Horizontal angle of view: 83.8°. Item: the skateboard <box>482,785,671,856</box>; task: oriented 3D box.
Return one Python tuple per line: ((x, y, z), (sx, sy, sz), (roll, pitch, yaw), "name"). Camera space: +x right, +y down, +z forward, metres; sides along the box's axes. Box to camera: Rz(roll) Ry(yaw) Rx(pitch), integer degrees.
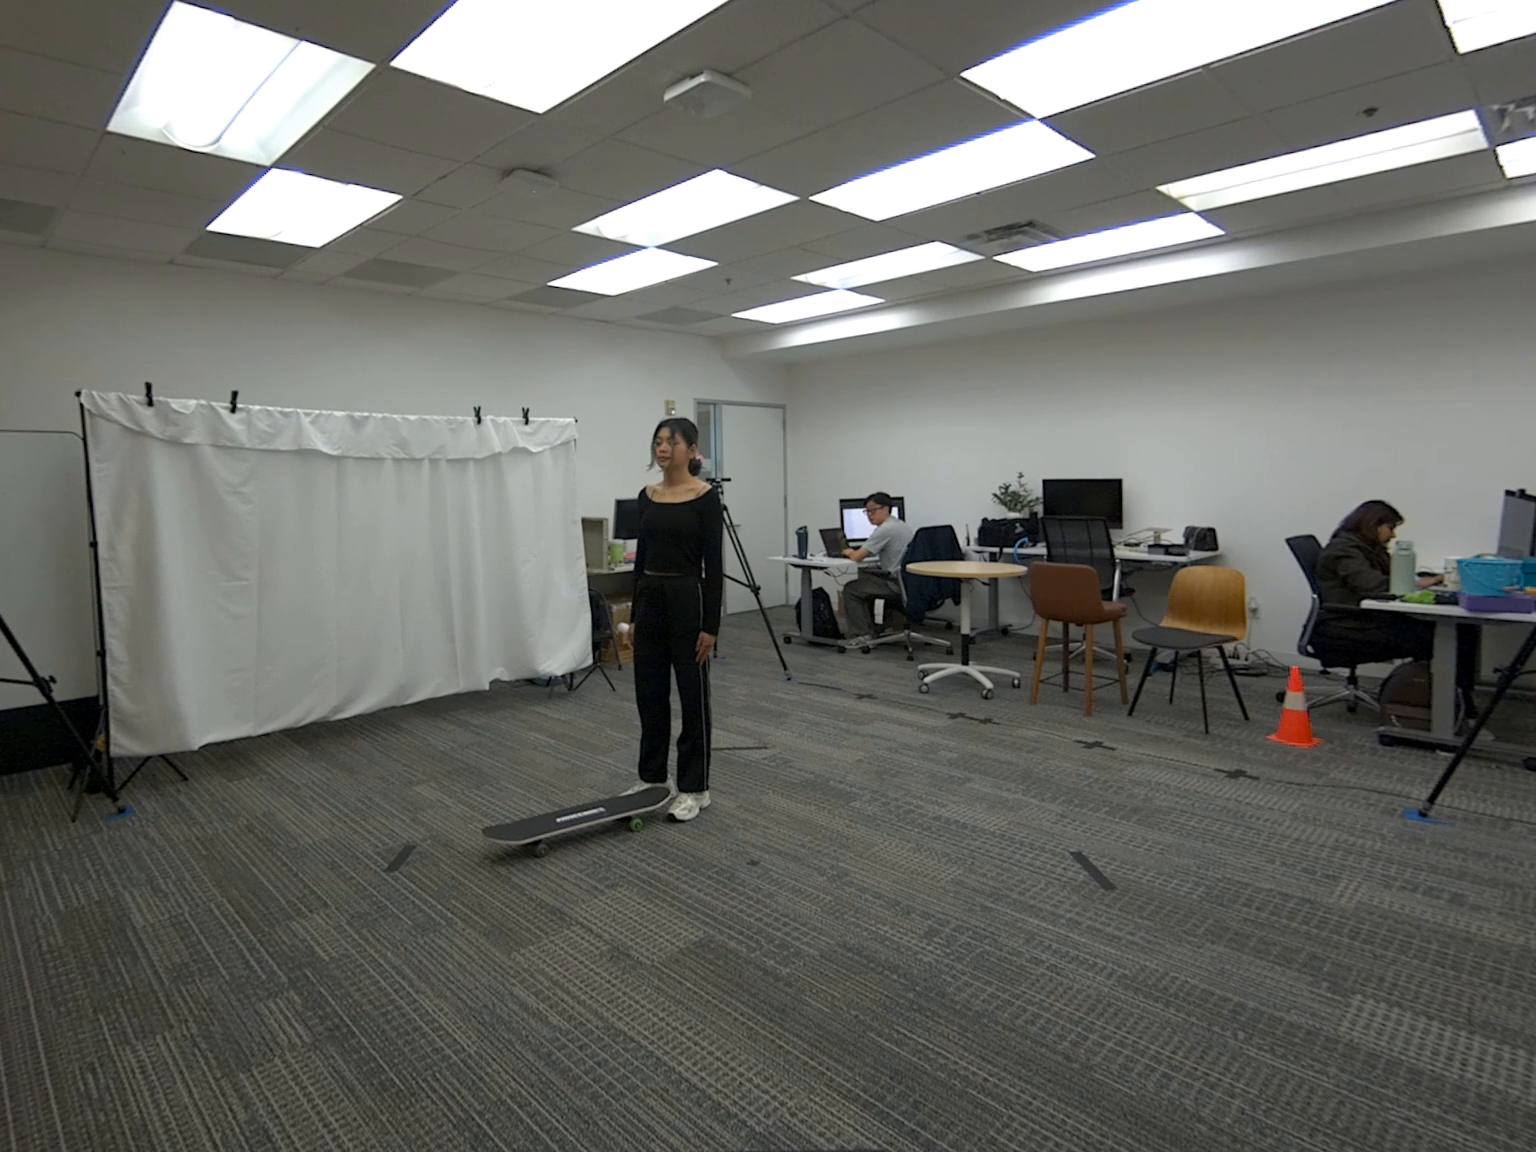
((-0.734, 0.967, 3.359), (0.766, 0.110, 0.199), (-5, 6, -34), "skateboard")
